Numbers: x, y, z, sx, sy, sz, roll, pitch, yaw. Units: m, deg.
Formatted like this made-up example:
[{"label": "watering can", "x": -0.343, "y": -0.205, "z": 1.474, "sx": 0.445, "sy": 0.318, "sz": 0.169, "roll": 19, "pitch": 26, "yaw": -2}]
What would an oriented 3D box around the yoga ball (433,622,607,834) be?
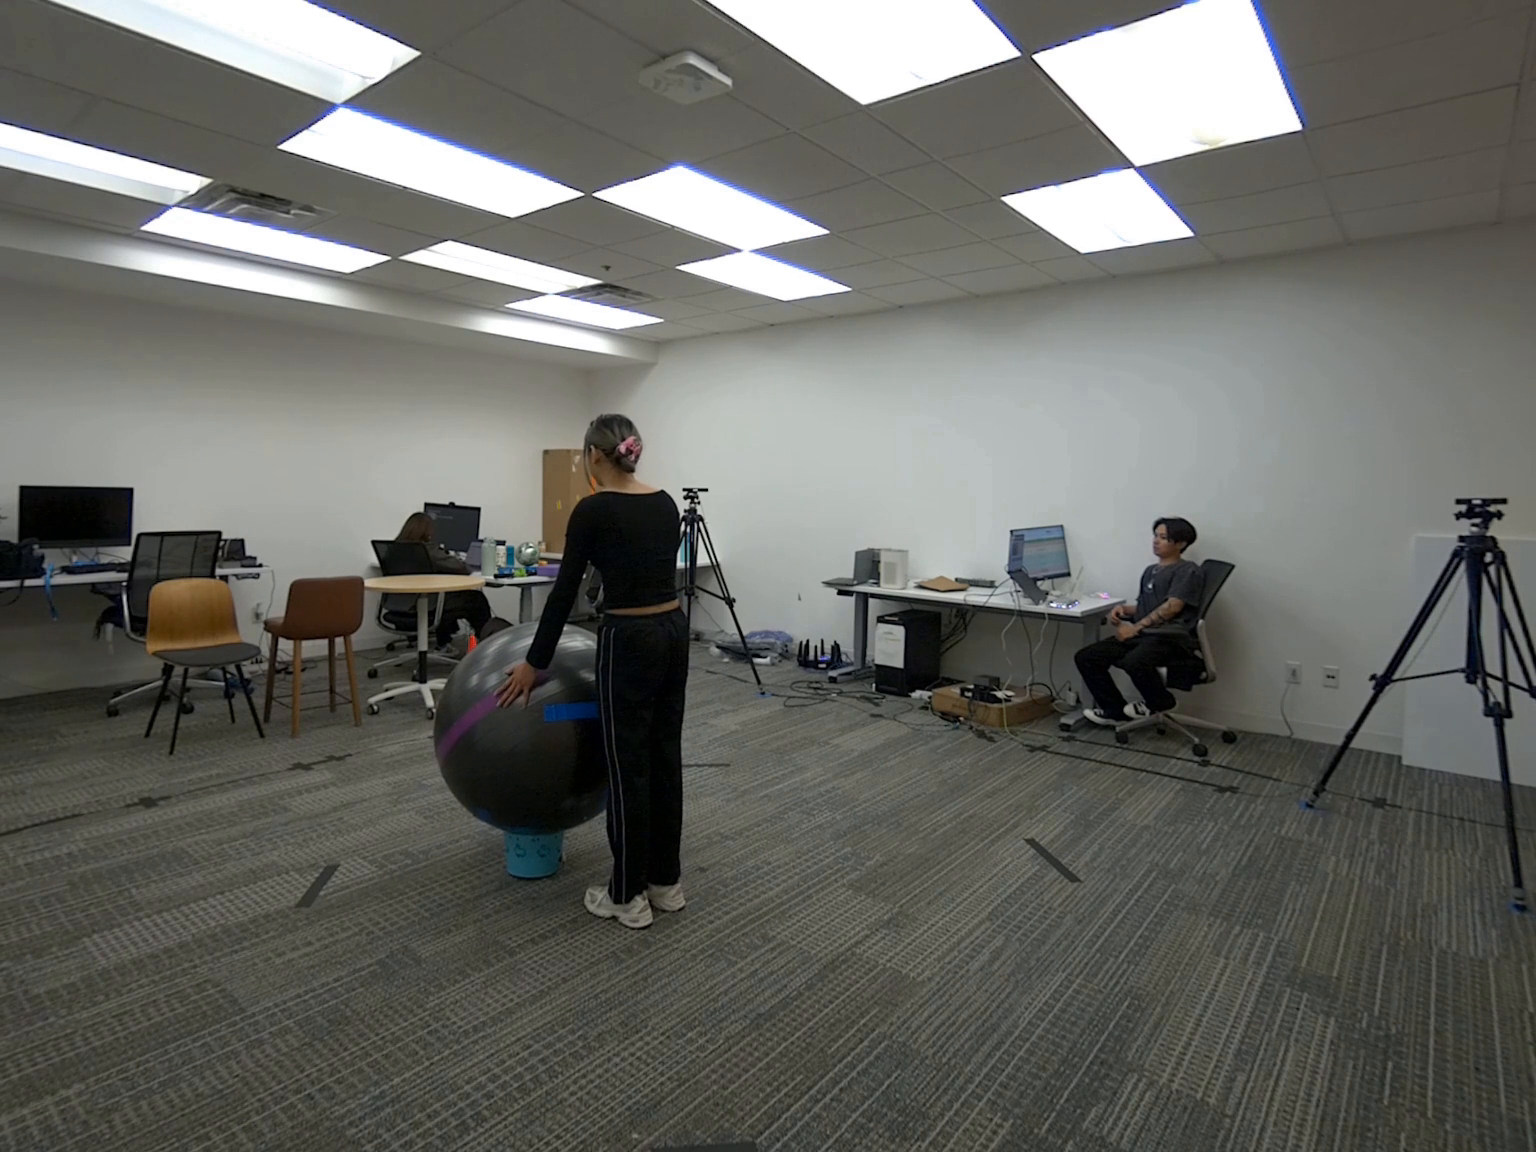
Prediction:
[{"label": "yoga ball", "x": -0.840, "y": 0.545, "z": 3.106, "sx": 0.757, "sy": 0.755, "sz": 0.762, "roll": 1, "pitch": 4, "yaw": -2}]
